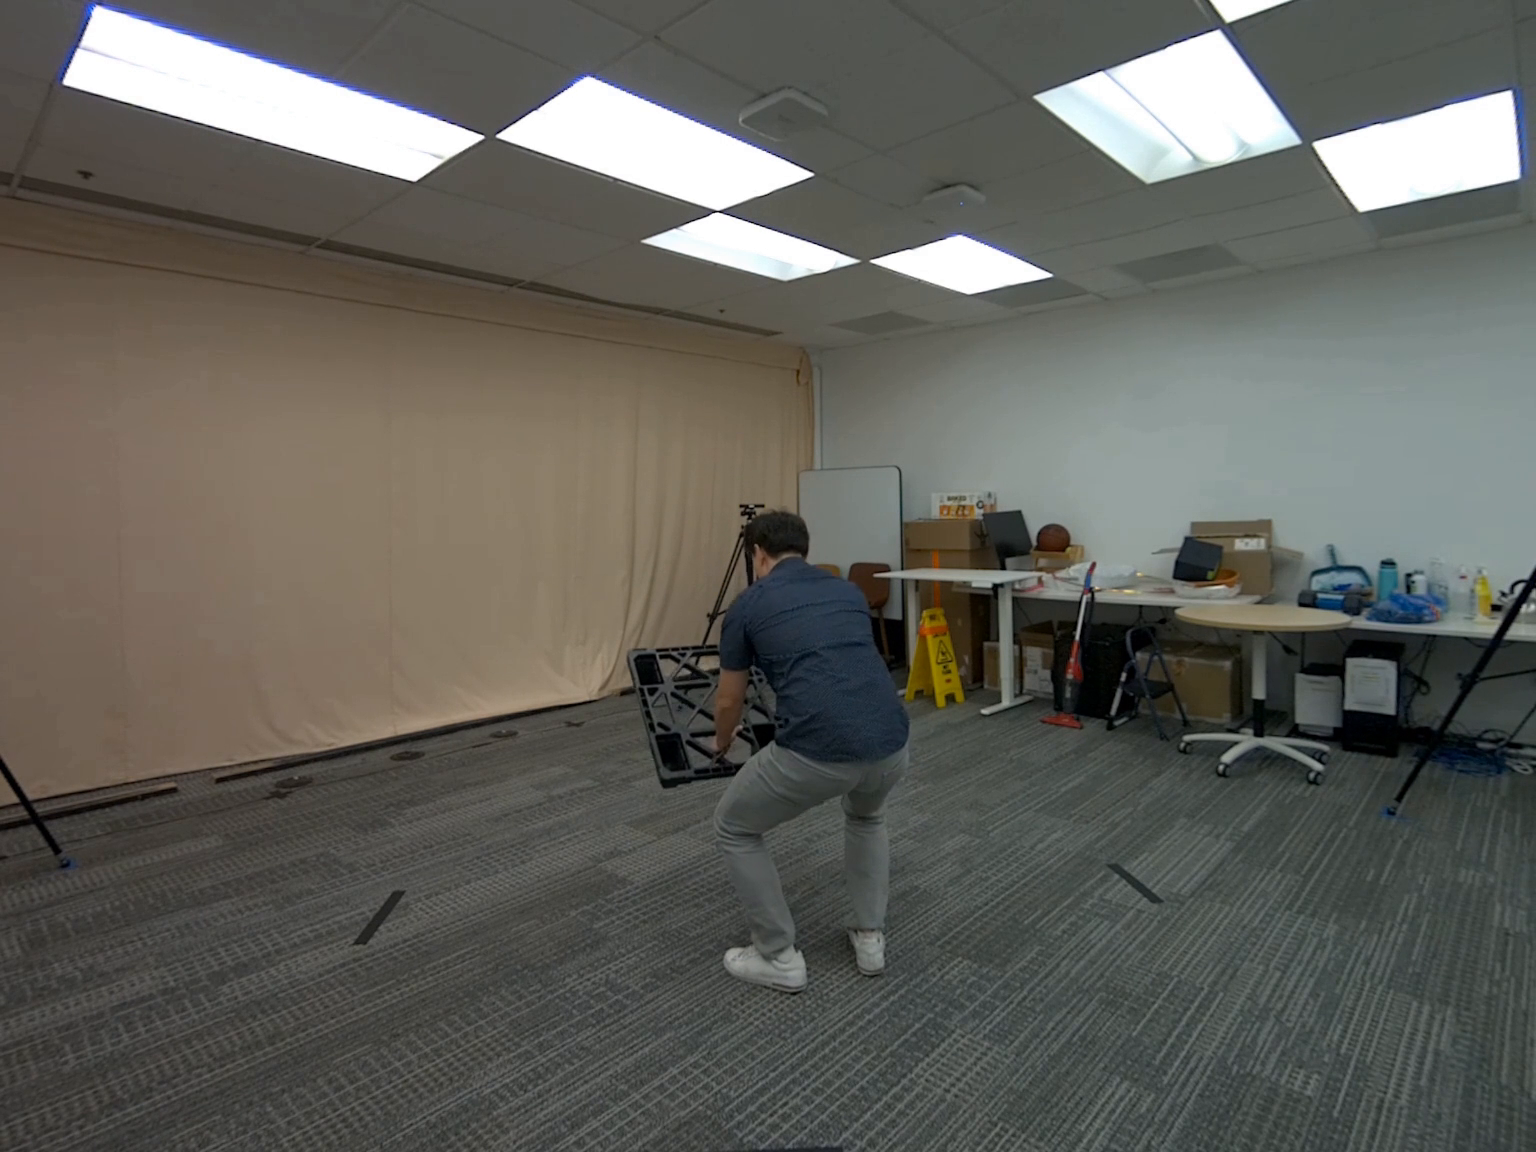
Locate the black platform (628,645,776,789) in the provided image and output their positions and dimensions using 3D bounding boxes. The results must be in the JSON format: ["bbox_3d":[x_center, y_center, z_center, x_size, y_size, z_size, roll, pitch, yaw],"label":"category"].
[{"bbox_3d":[-0.066,0.487,3.015,0.790,0.142,0.624,-2,37,-20],"label":"black platform"}]
